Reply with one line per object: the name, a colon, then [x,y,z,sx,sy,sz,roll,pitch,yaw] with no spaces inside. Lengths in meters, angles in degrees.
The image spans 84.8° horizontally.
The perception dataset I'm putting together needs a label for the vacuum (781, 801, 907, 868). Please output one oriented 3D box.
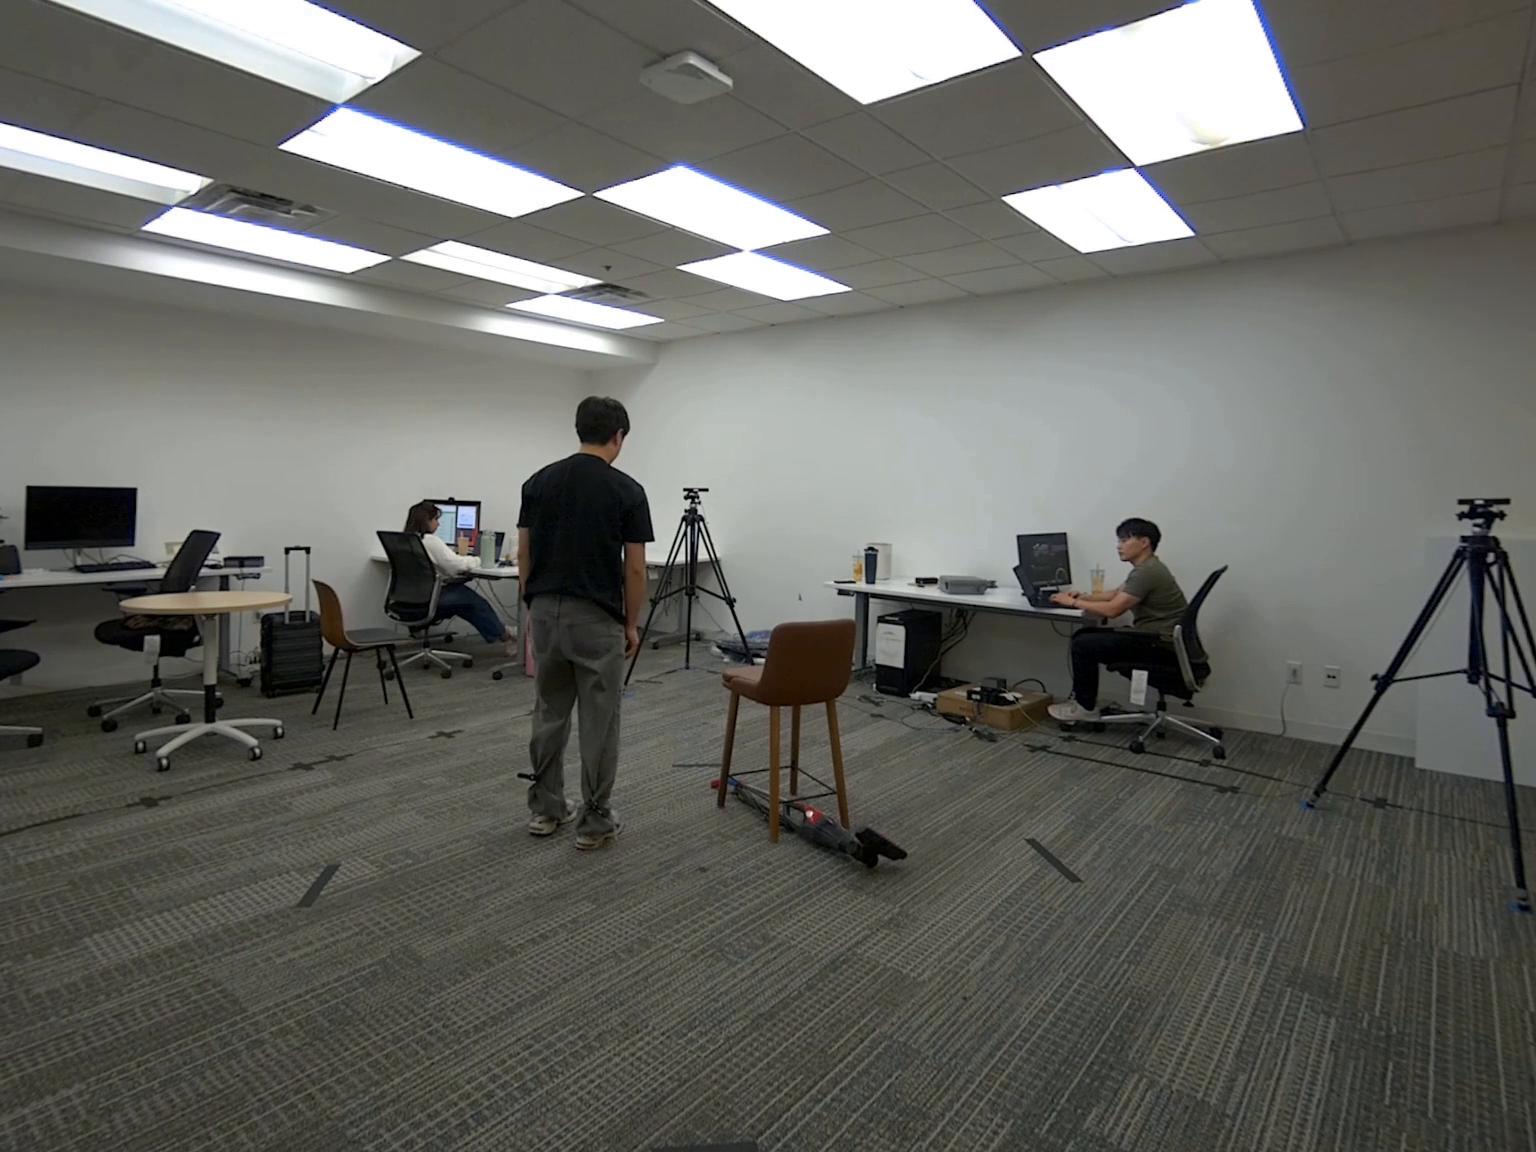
vacuum: [0.069,0.993,3.545,0.244,0.145,1.080,40,-21,-29]
